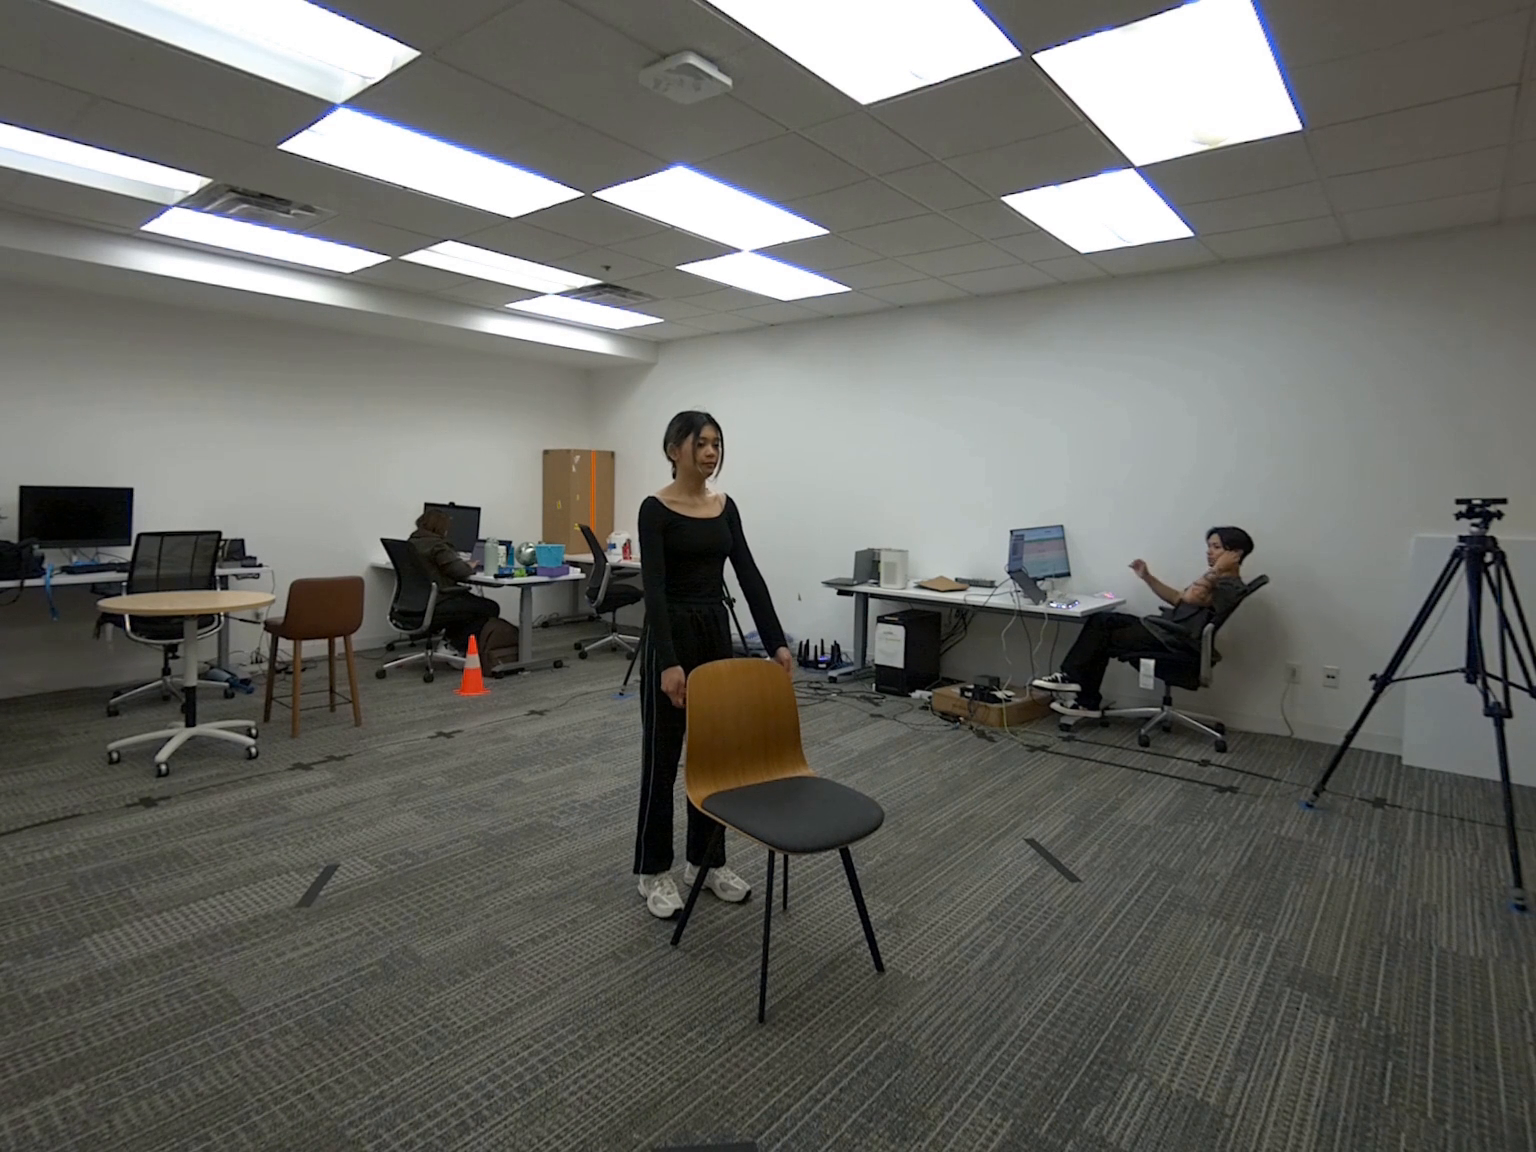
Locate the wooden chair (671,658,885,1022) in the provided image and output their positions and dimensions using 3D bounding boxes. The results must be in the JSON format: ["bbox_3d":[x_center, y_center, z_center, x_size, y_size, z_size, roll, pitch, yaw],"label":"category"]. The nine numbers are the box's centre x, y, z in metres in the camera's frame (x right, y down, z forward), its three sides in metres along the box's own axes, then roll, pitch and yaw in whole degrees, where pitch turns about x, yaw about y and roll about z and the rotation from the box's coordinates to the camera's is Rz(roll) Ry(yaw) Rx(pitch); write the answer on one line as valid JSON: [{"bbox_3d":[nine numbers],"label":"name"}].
[{"bbox_3d":[0.036,0.710,2.488,0.464,0.878,0.538,-1,0,-36],"label":"wooden chair"}]
